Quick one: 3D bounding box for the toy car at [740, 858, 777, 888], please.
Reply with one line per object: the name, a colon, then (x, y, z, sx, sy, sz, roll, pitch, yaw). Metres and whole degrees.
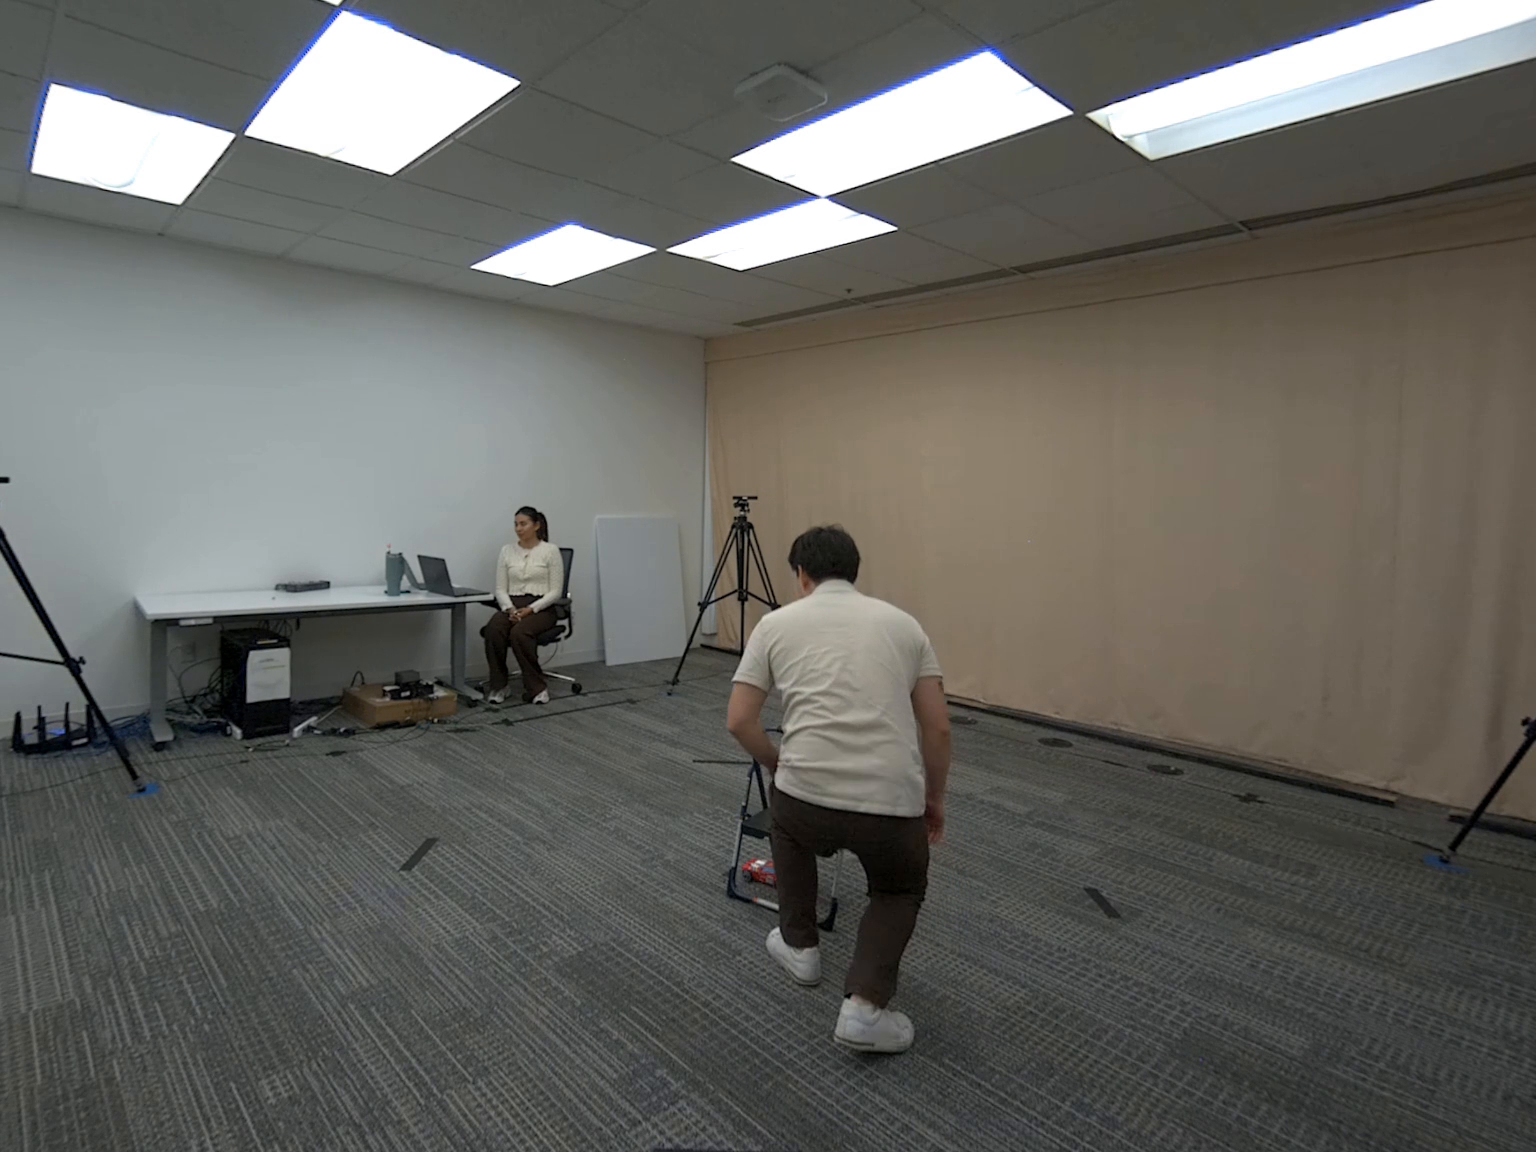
toy car: (0.026, 1.085, 3.044, 0.259, 0.083, 0.127, -7, -1, 34)
